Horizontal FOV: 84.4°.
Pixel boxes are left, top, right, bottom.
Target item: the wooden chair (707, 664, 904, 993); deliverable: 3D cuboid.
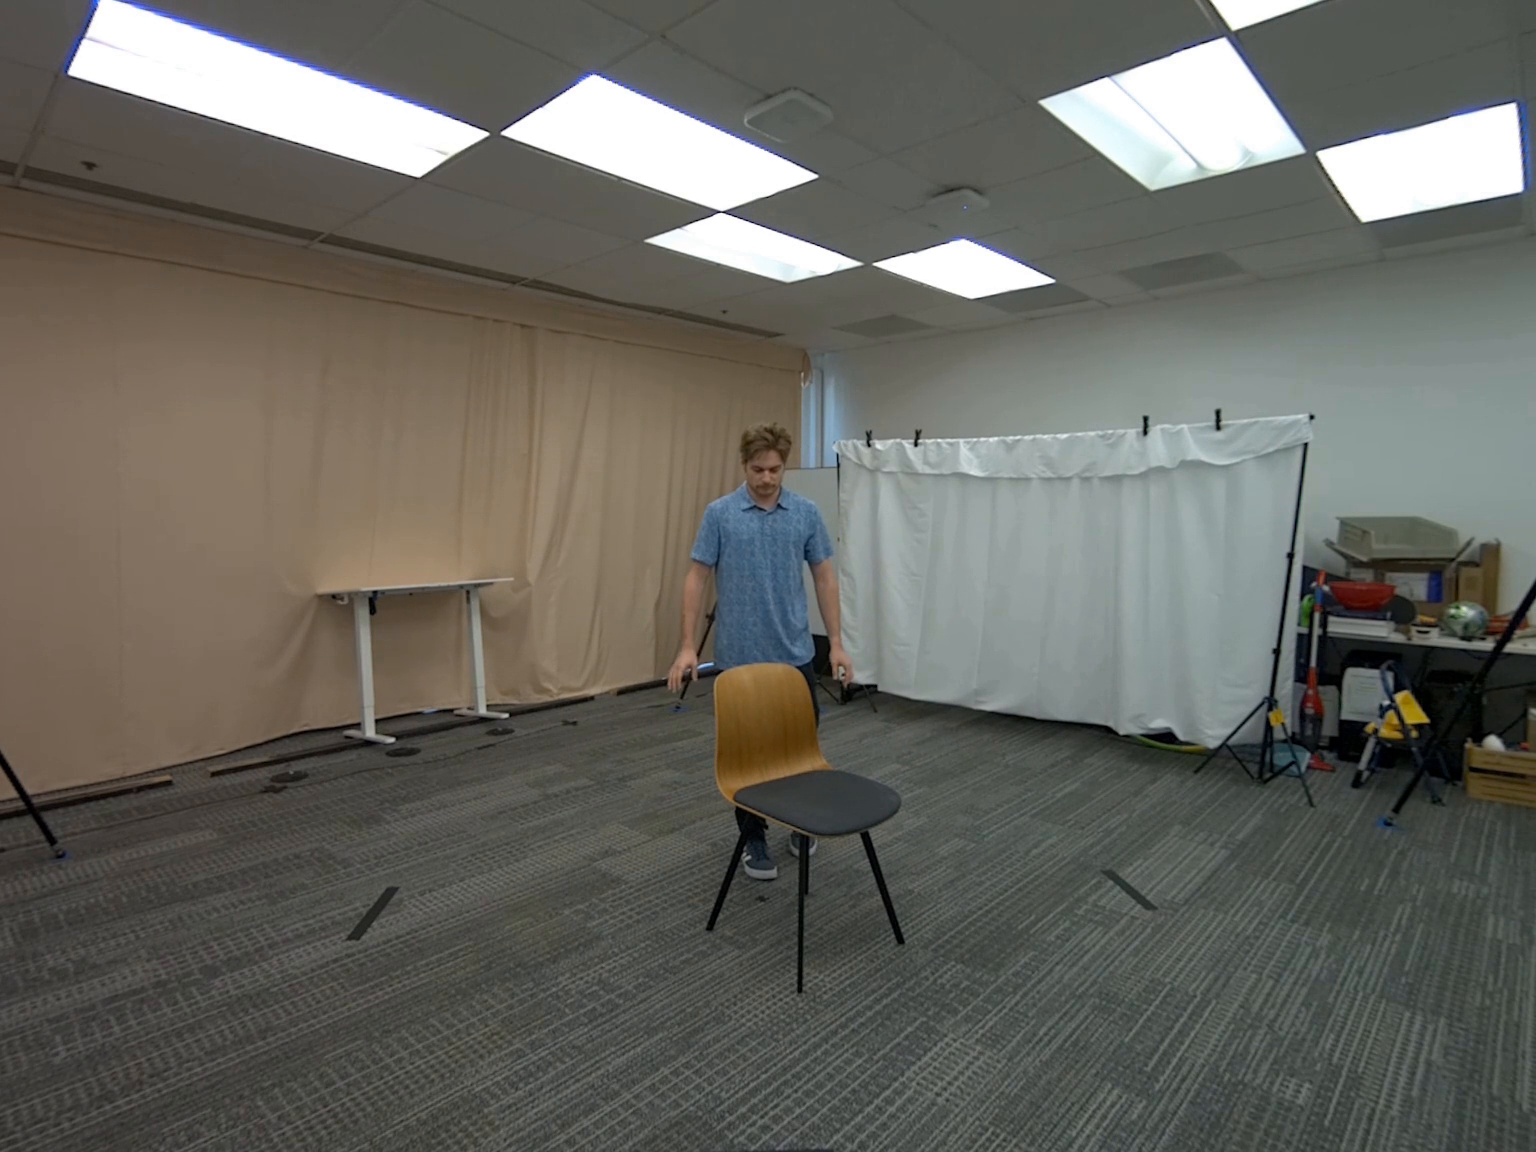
[{"bbox_3d":[0.119,0.738,2.683,0.464,0.878,0.539,-3,0,-39],"label":"wooden chair"}]
